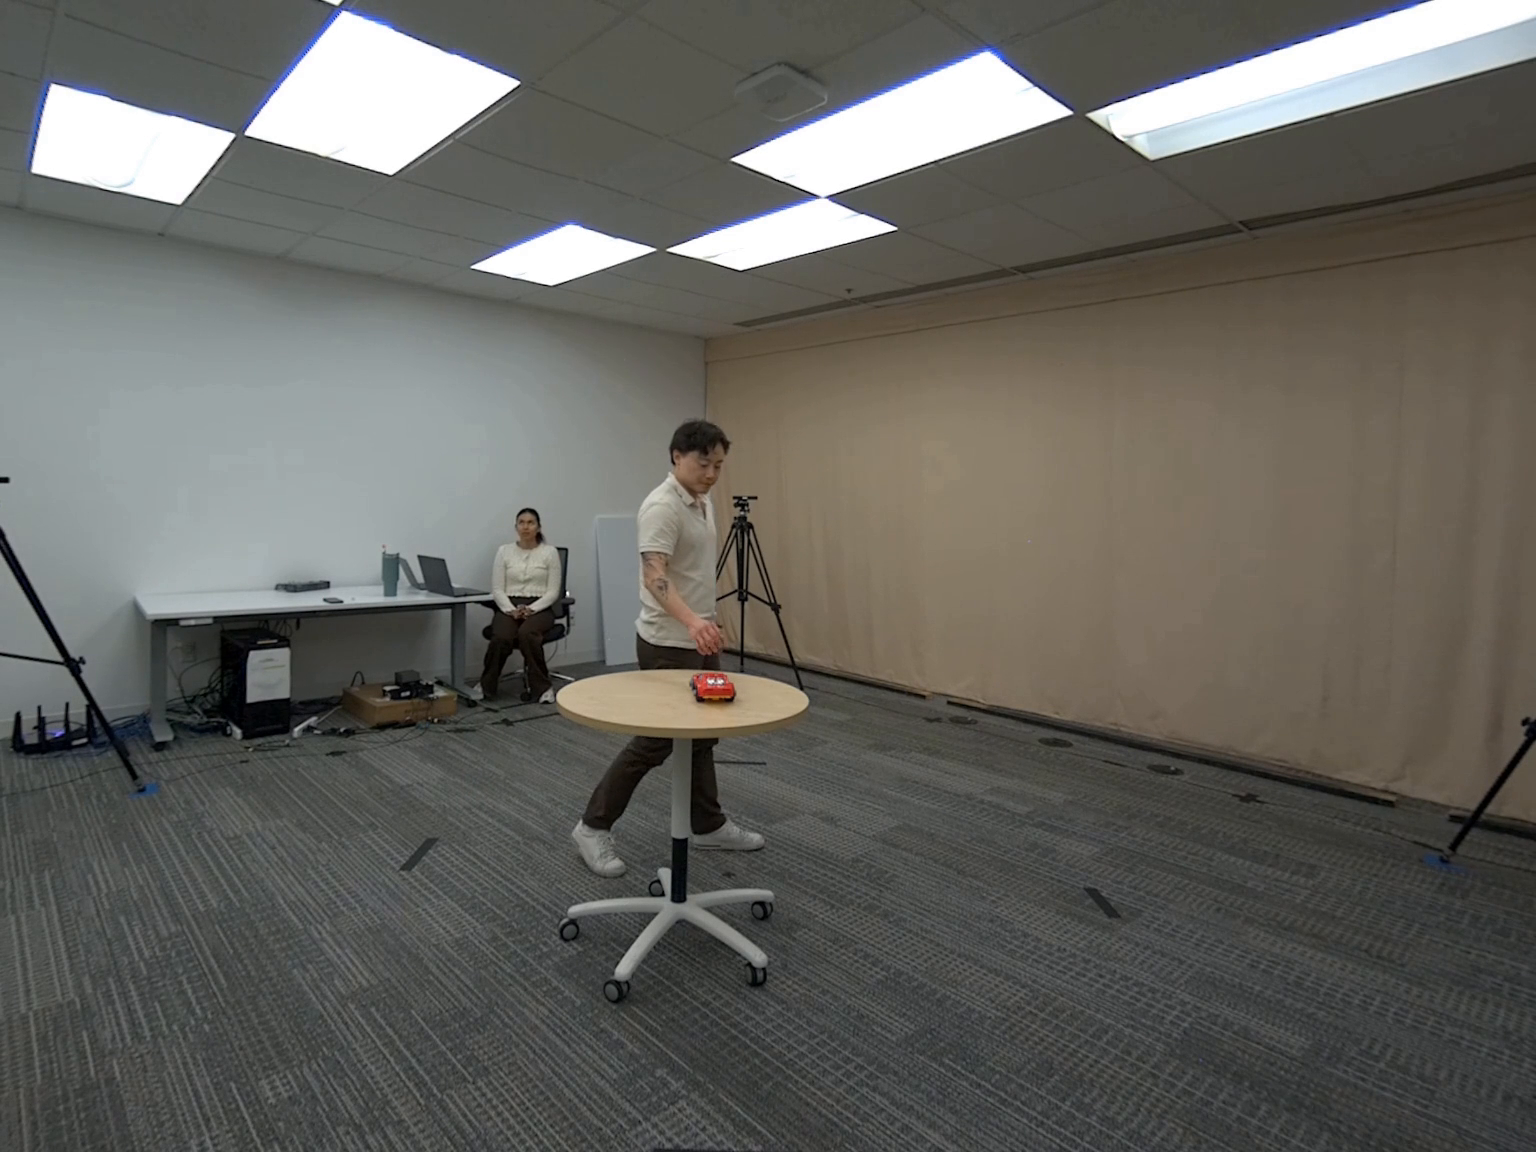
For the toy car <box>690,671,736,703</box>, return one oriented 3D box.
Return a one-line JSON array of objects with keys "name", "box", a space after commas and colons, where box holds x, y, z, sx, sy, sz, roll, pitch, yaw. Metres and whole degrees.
[{"name": "toy car", "box": [-0.171, 0.335, 2.550, 0.129, 0.084, 0.255, 1, -7, -10]}]
